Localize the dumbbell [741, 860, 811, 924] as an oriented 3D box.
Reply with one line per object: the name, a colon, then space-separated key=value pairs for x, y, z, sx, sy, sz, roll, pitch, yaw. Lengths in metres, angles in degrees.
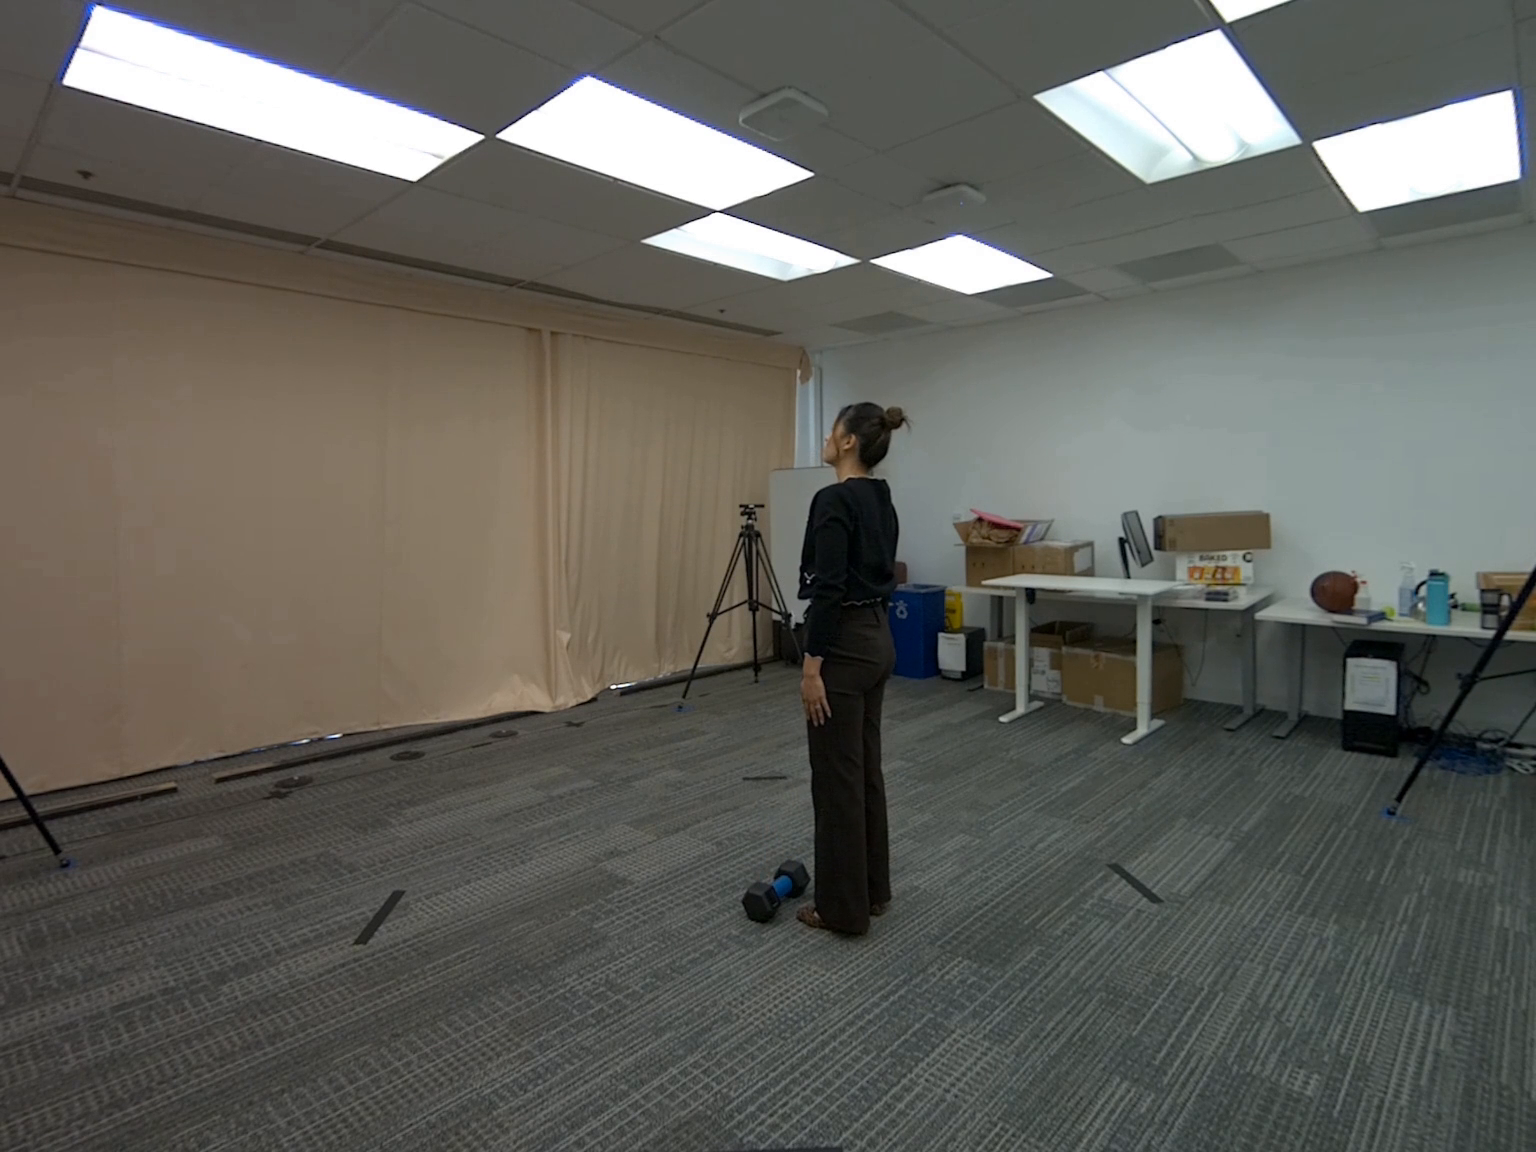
dumbbell: x=0.037 y=1.094 z=2.921 sx=0.126 sy=0.108 sz=0.285 roll=-1 pitch=4 yaw=33
